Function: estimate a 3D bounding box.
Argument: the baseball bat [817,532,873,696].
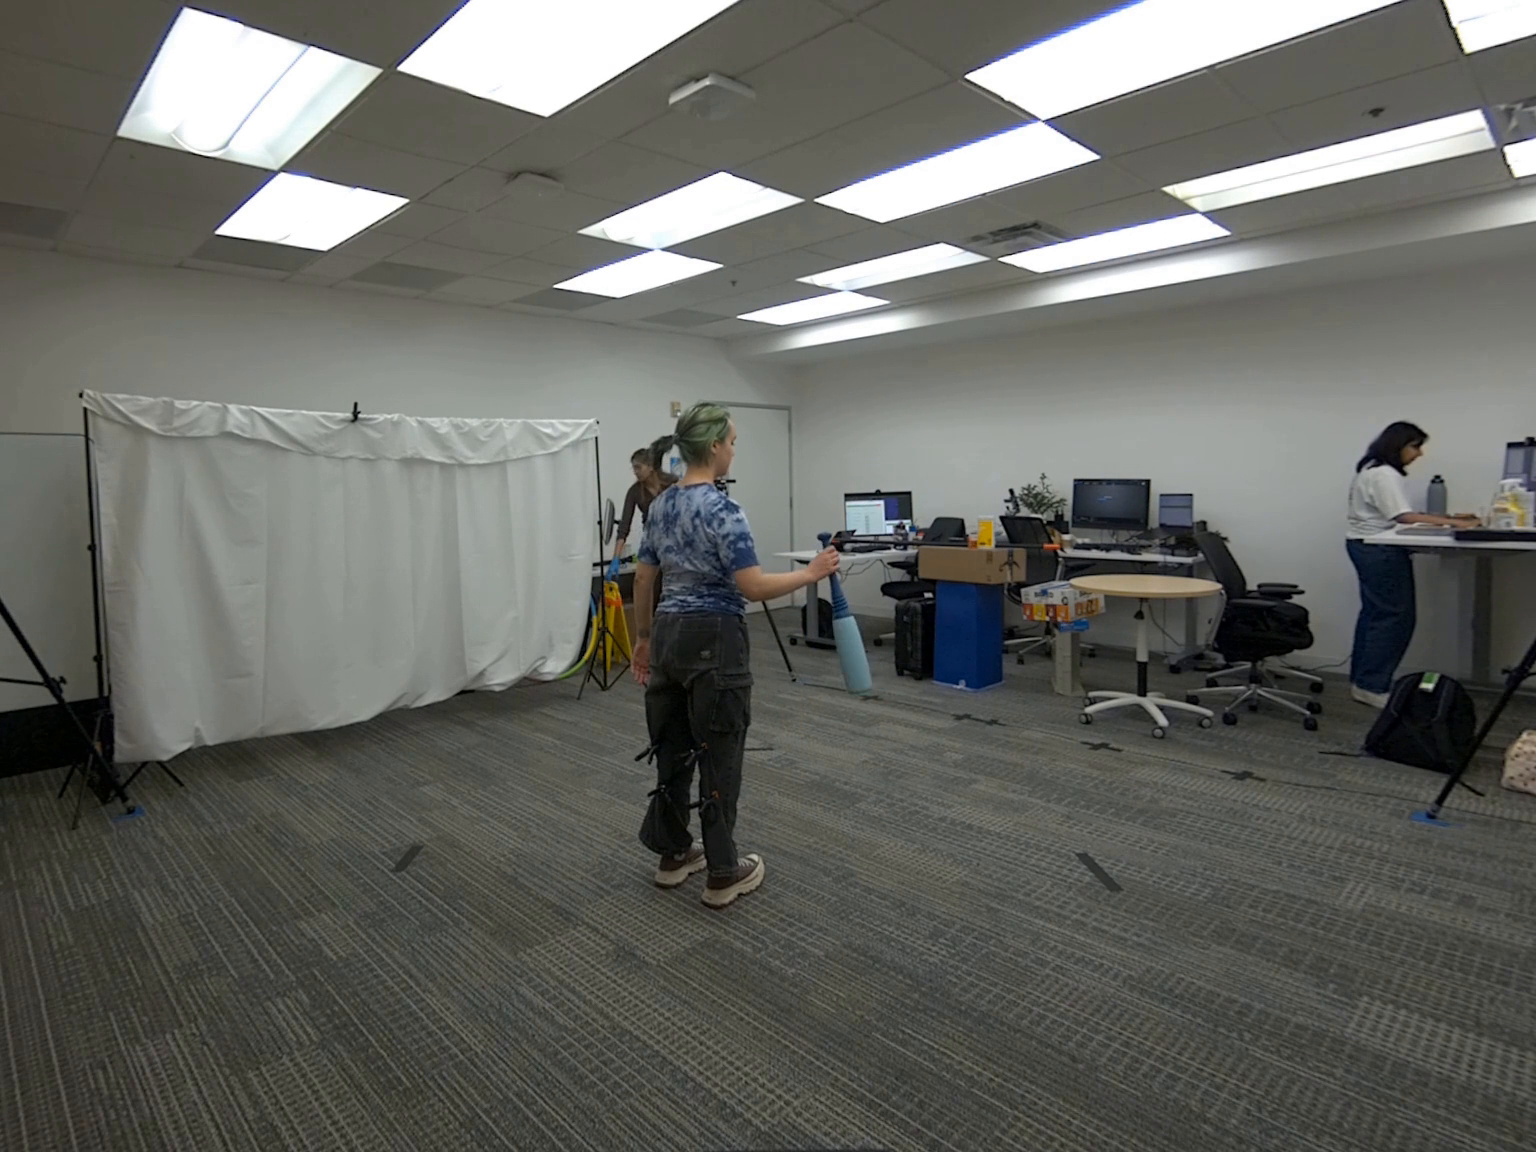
[{"bbox_3d":[0.237,0.123,2.837,0.089,0.547,0.088,-13,-6,-3],"label":"baseball bat"}]
